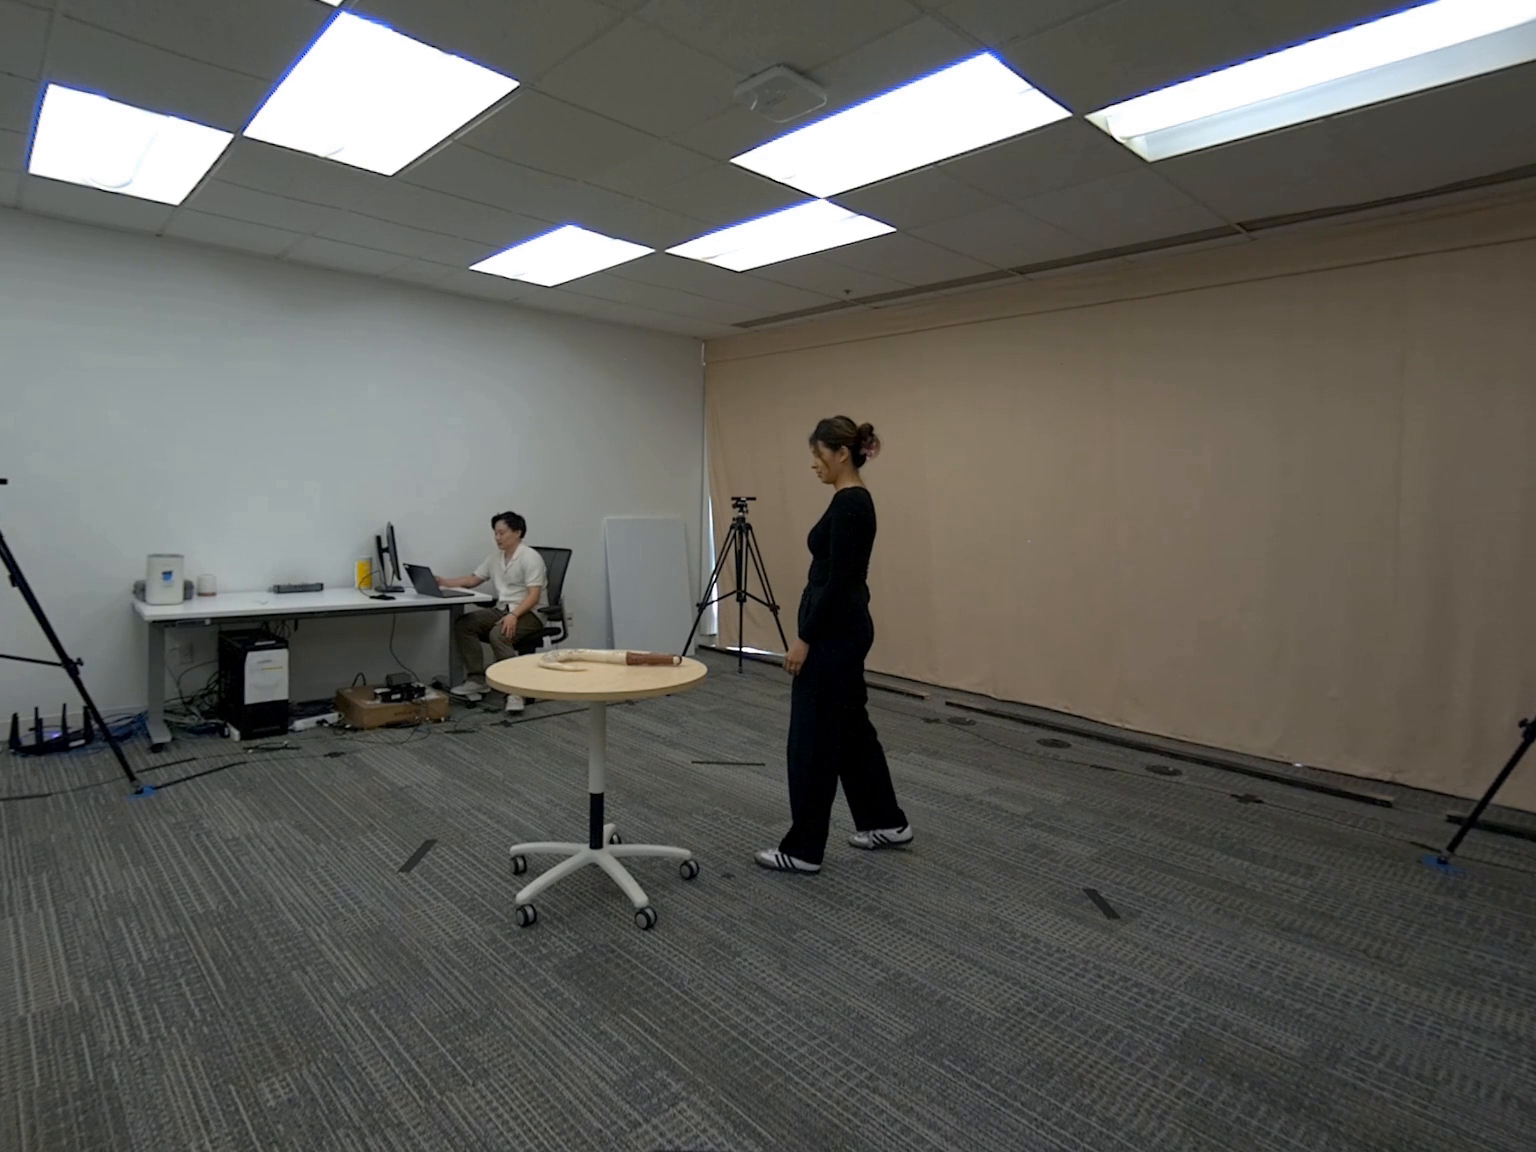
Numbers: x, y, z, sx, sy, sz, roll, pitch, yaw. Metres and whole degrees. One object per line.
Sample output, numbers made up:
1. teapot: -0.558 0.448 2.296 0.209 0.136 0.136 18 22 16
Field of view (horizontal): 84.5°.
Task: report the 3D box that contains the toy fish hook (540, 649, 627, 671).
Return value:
1. toy fish hook: -0.569 0.311 2.997 0.508 0.048 0.225 1 12 4
